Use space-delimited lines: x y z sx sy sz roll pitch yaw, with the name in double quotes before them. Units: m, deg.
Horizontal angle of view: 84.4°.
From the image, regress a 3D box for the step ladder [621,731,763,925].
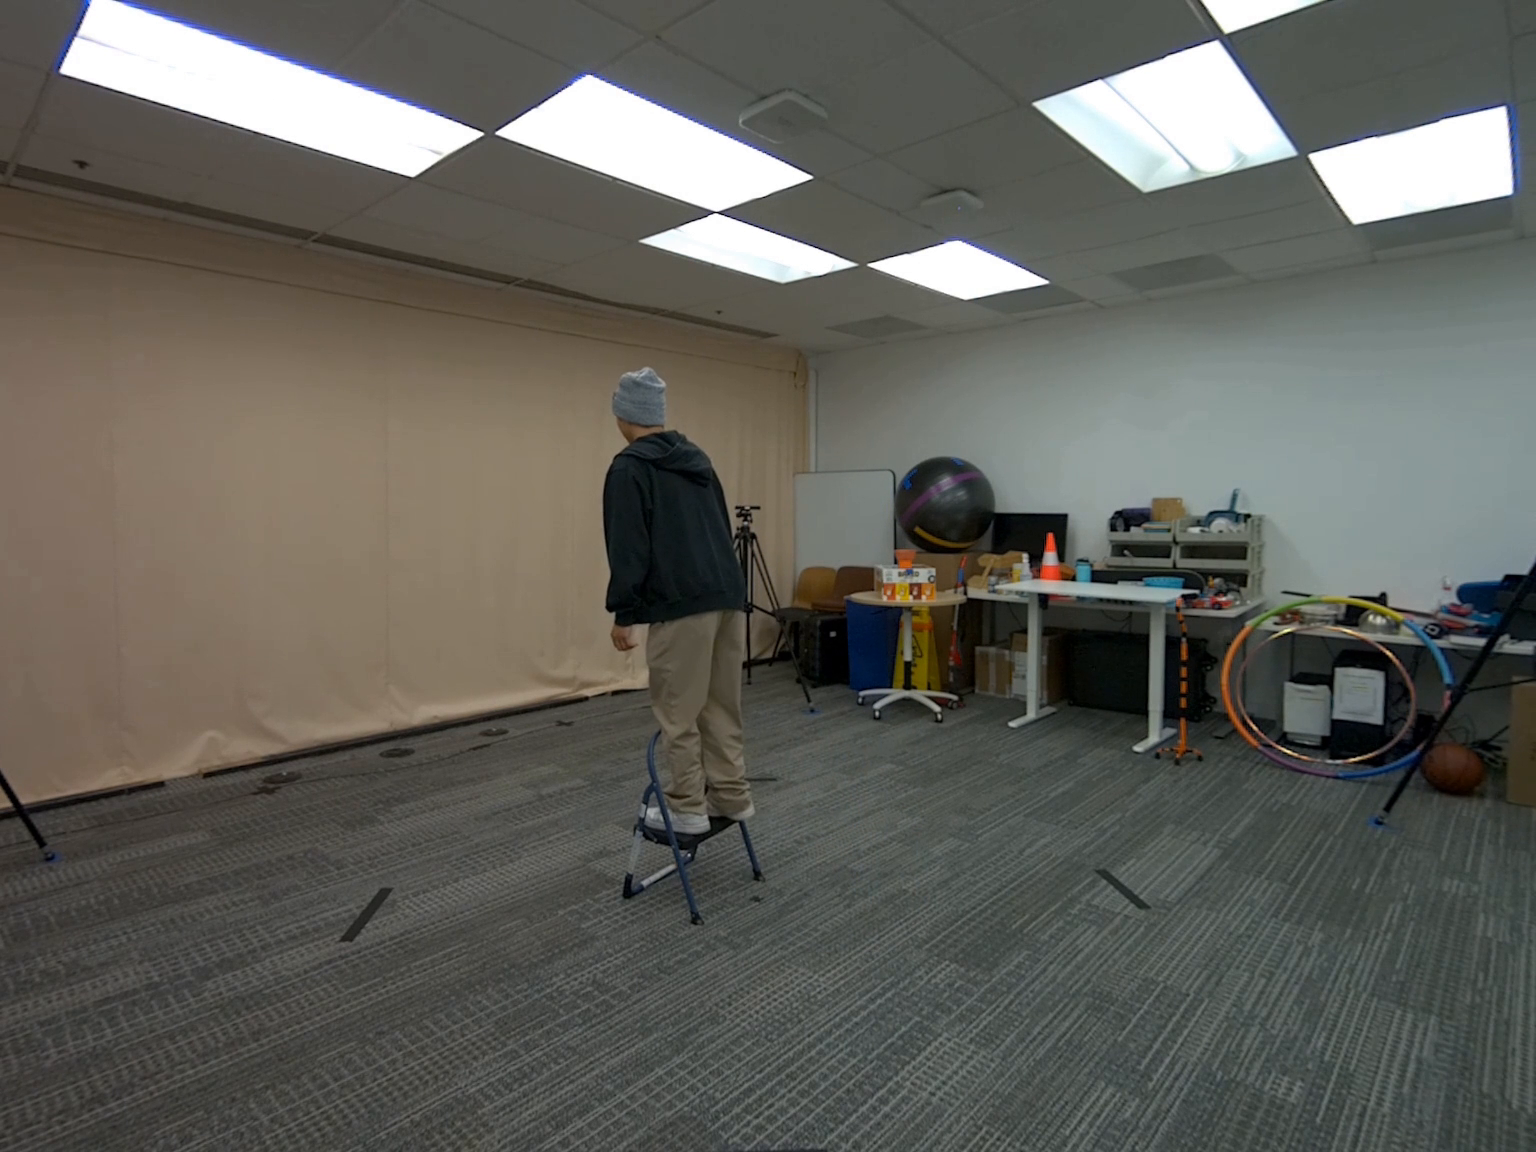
"step ladder" -0.270 0.838 3.056 0.360 0.605 0.419 1 3 32
